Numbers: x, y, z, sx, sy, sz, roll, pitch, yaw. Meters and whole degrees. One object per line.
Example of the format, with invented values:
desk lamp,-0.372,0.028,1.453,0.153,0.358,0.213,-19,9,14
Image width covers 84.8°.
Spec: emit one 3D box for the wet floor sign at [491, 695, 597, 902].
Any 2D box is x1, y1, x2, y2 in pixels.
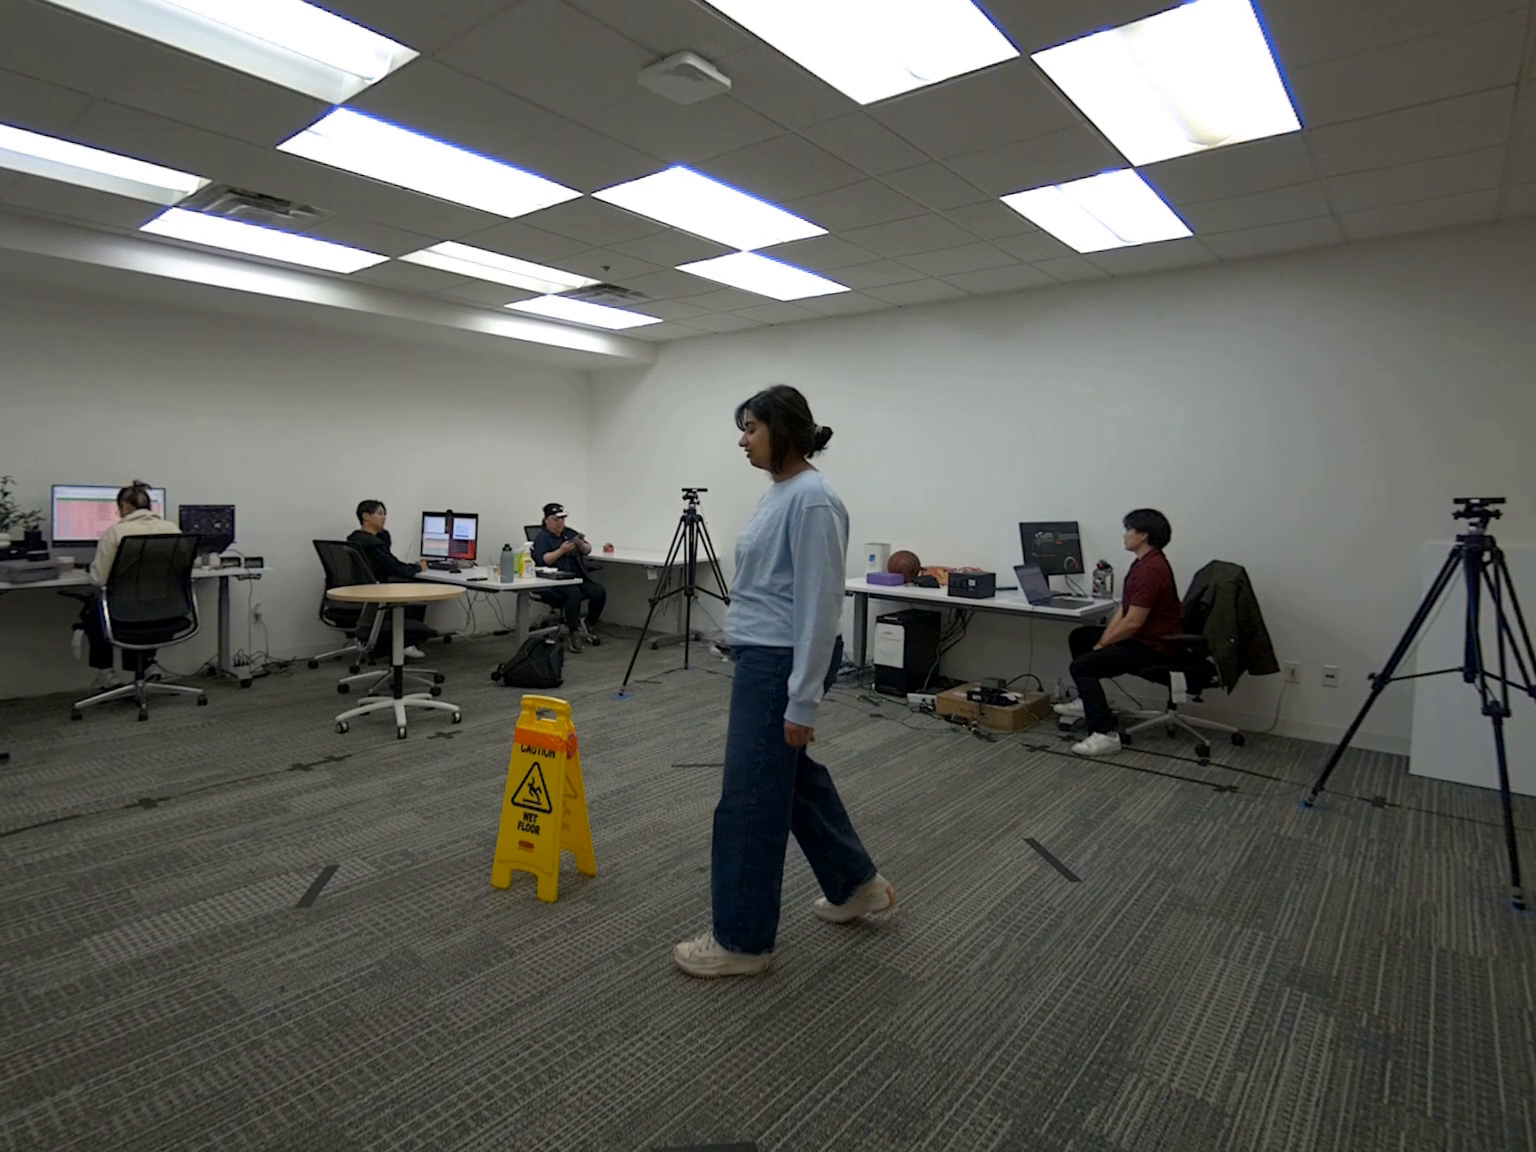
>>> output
wet floor sign,-0.798,0.748,2.983,0.289,0.644,0.283,2,4,25
